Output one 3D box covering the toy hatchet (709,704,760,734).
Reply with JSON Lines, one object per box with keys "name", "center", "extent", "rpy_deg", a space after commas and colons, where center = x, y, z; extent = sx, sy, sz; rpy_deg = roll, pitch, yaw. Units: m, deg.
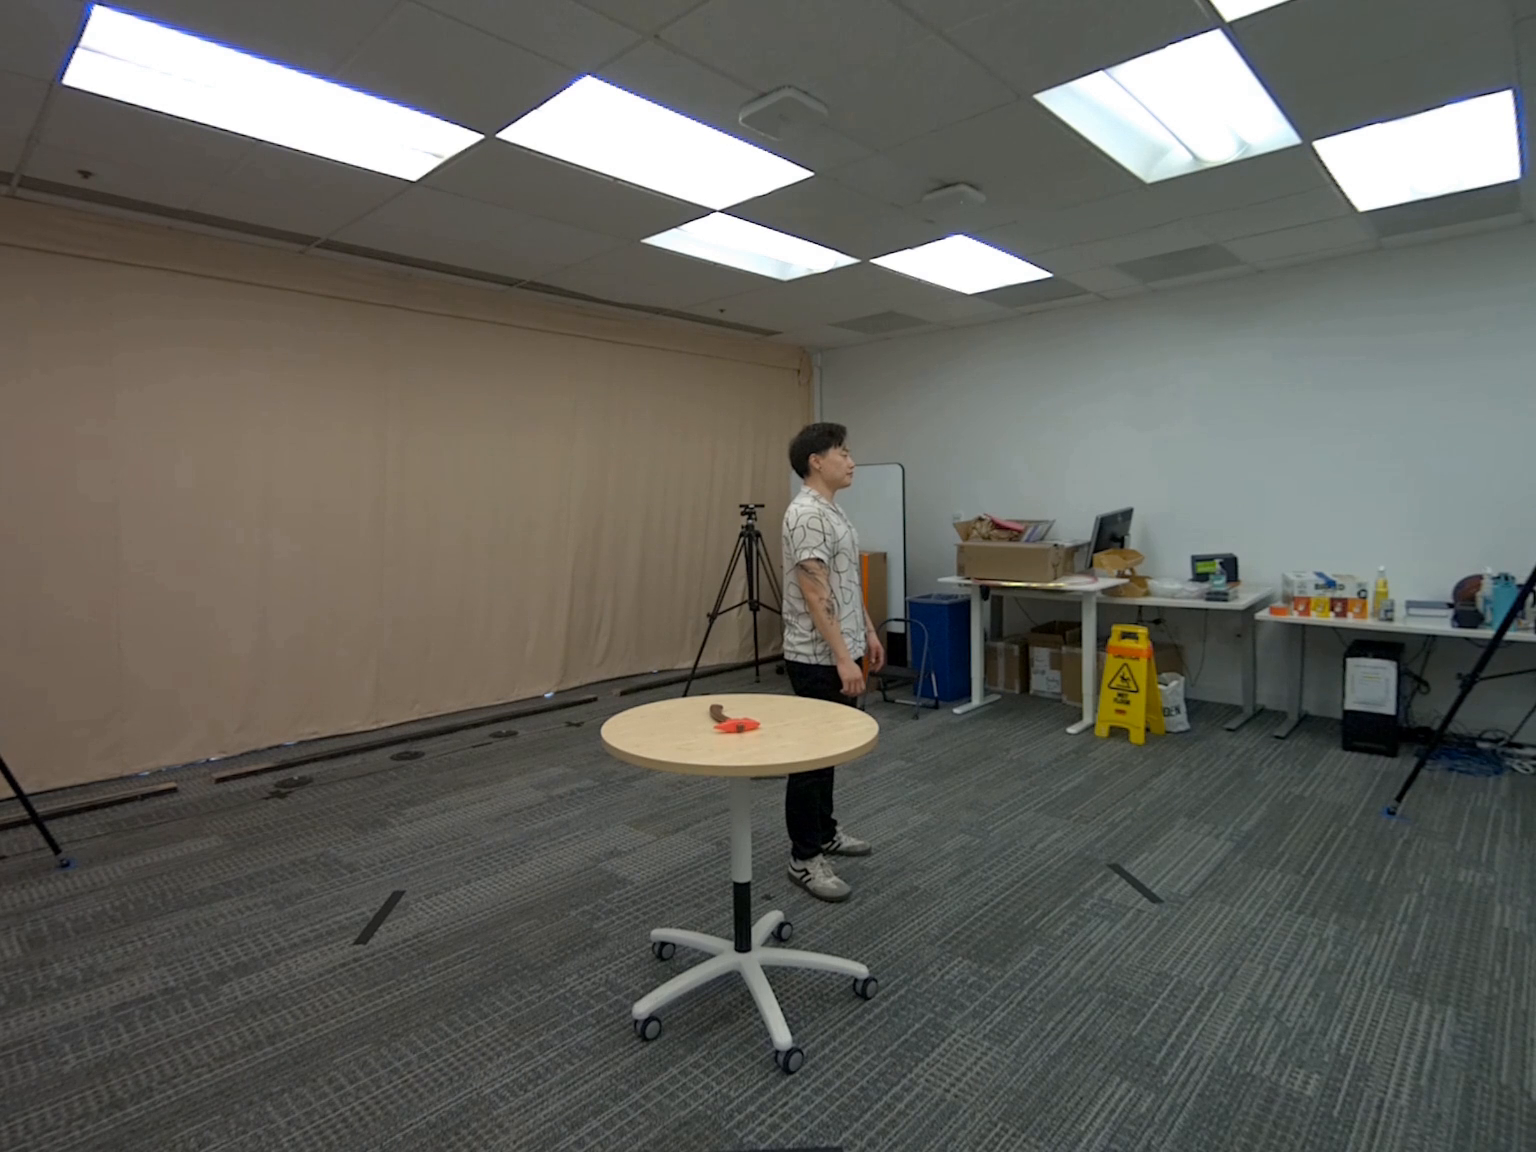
{"name": "toy hatchet", "center": [-0.094, 0.398, 2.377], "extent": [0.130, 0.029, 0.272], "rpy_deg": [0, 4, -6]}
